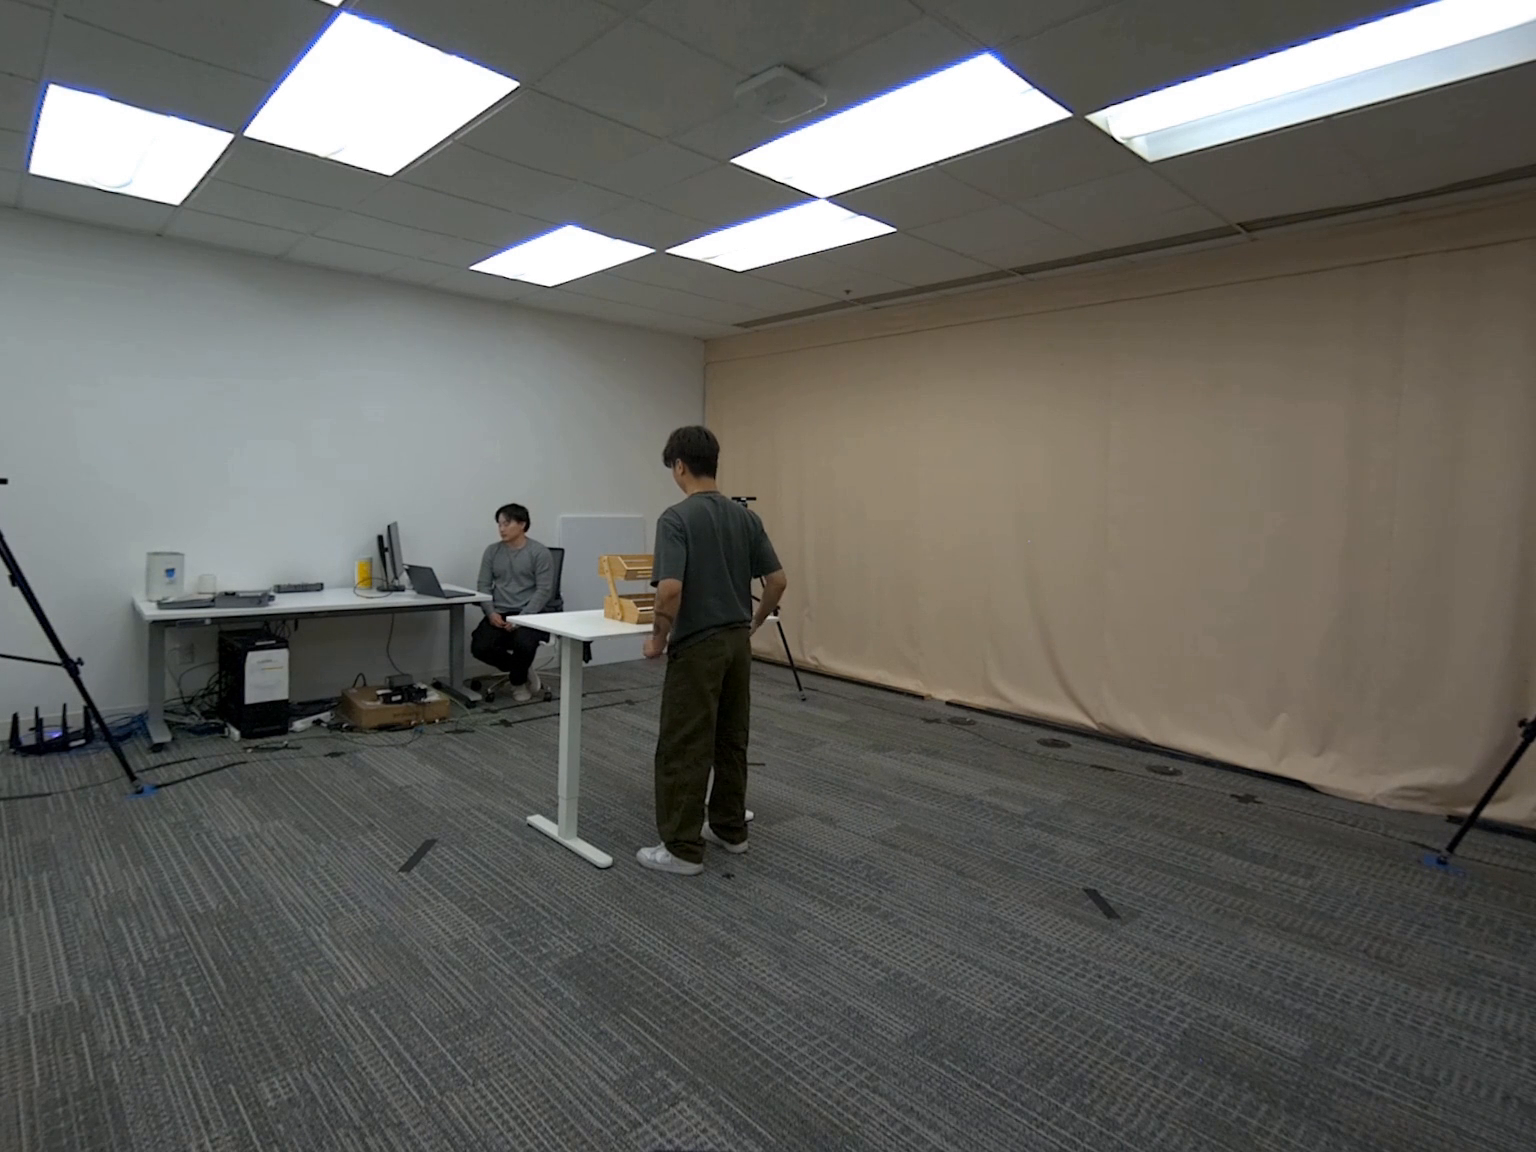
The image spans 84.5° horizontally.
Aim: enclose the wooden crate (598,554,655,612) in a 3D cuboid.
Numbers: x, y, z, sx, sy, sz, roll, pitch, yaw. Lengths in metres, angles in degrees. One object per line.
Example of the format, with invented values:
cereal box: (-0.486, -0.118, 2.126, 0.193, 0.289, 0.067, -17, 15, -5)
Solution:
wooden crate: (-0.513, 0.044, 3.544, 0.317, 0.273, 0.310, -1, 4, -43)
